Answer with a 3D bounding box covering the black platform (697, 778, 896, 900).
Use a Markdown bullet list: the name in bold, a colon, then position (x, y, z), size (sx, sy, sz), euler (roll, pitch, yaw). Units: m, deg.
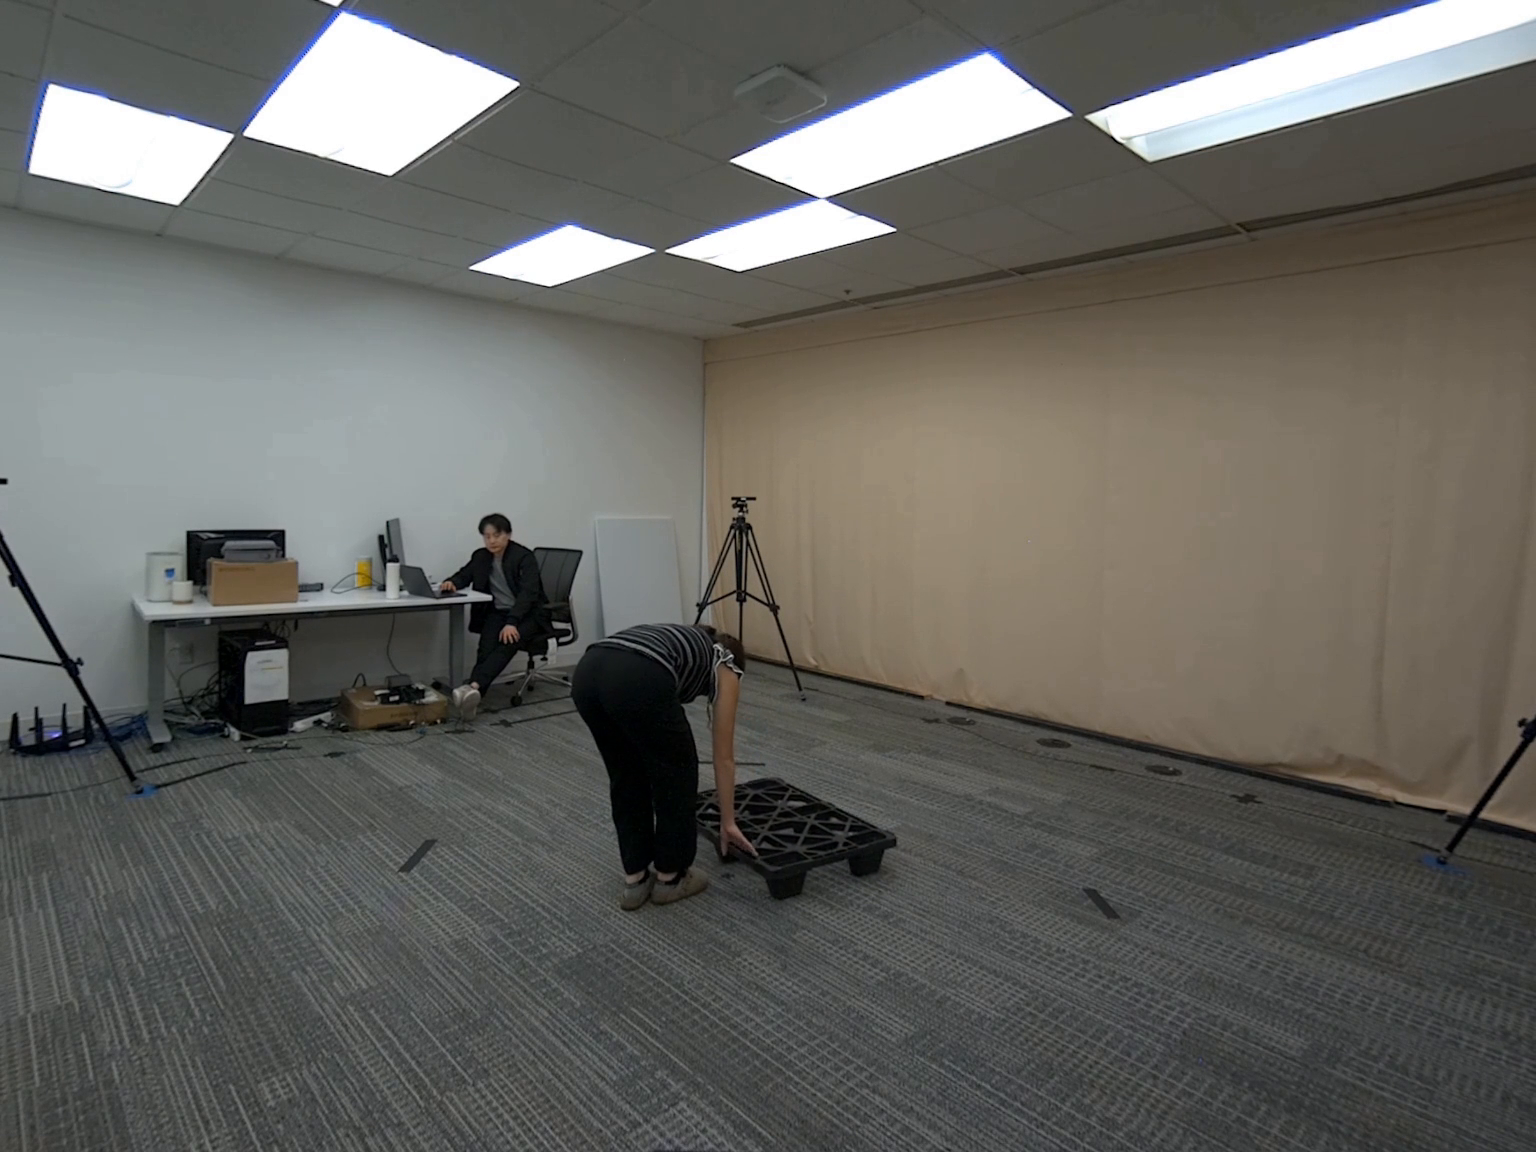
- **black platform**: position (0.010, 1.022, 3.347), size (0.592, 0.143, 0.825), euler (-1, 5, -34)
